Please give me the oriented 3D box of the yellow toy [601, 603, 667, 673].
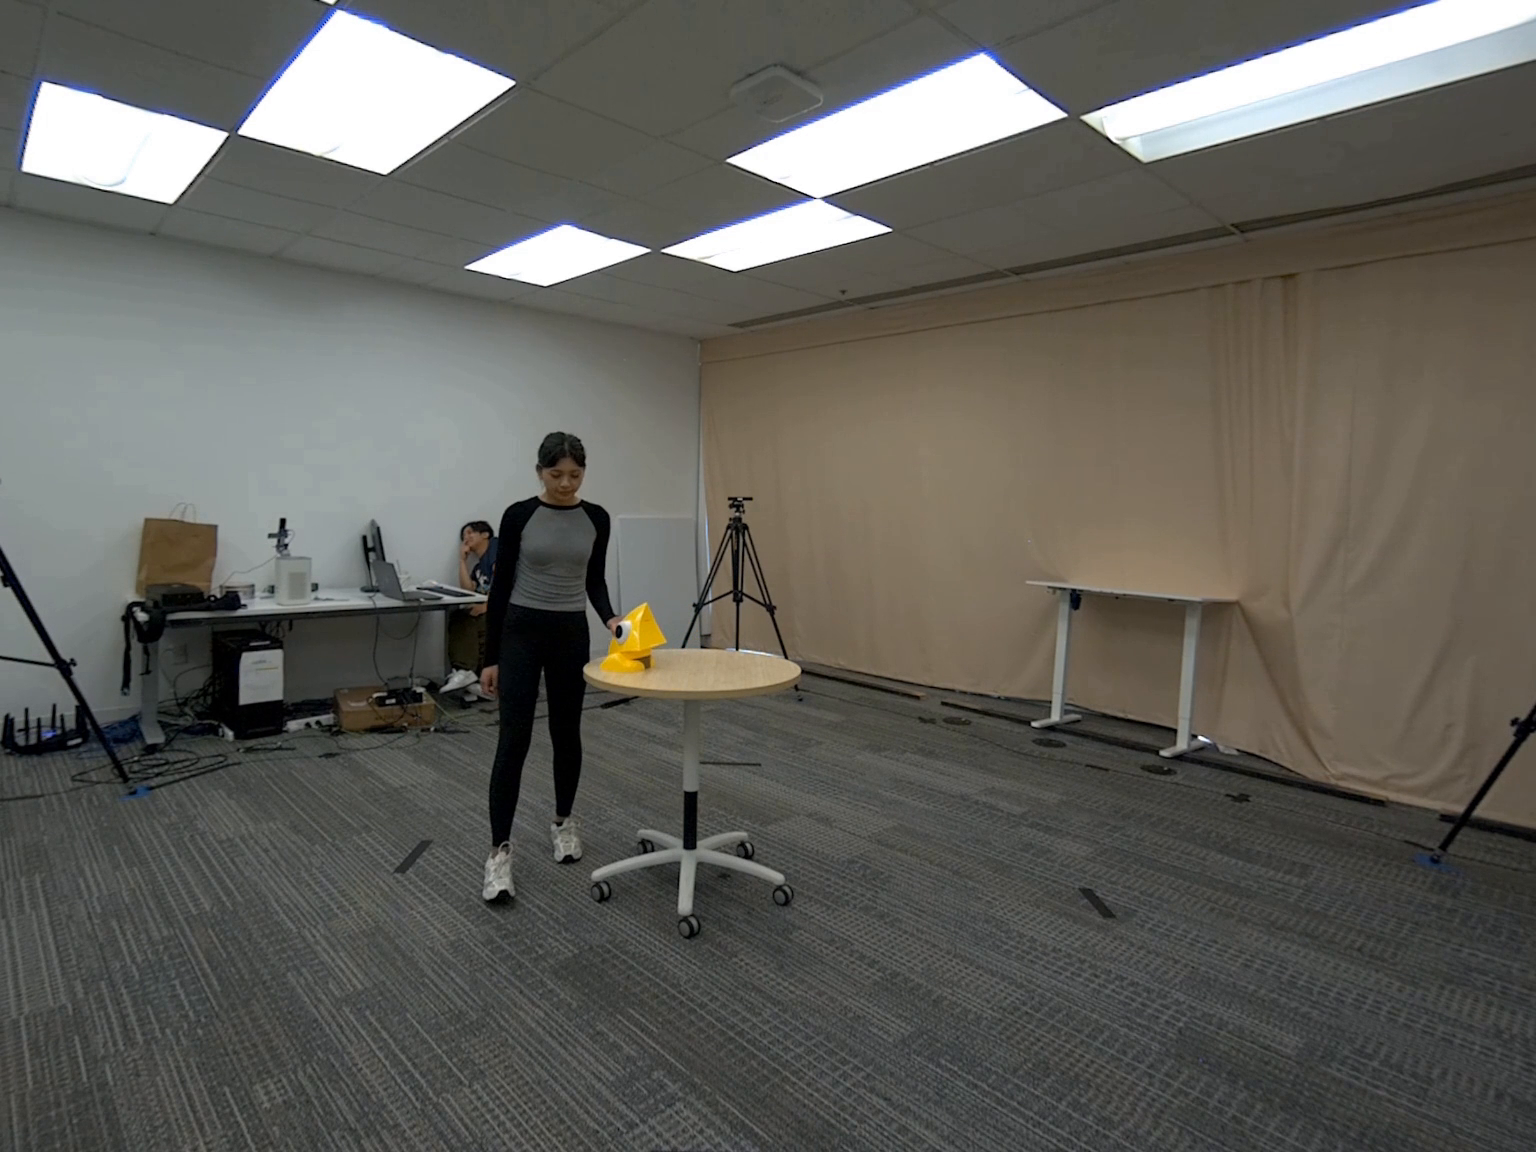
[{"bbox_3d":[-0.489,0.207,2.969,0.196,0.230,0.201,3,4,22],"label":"yellow toy"}]
